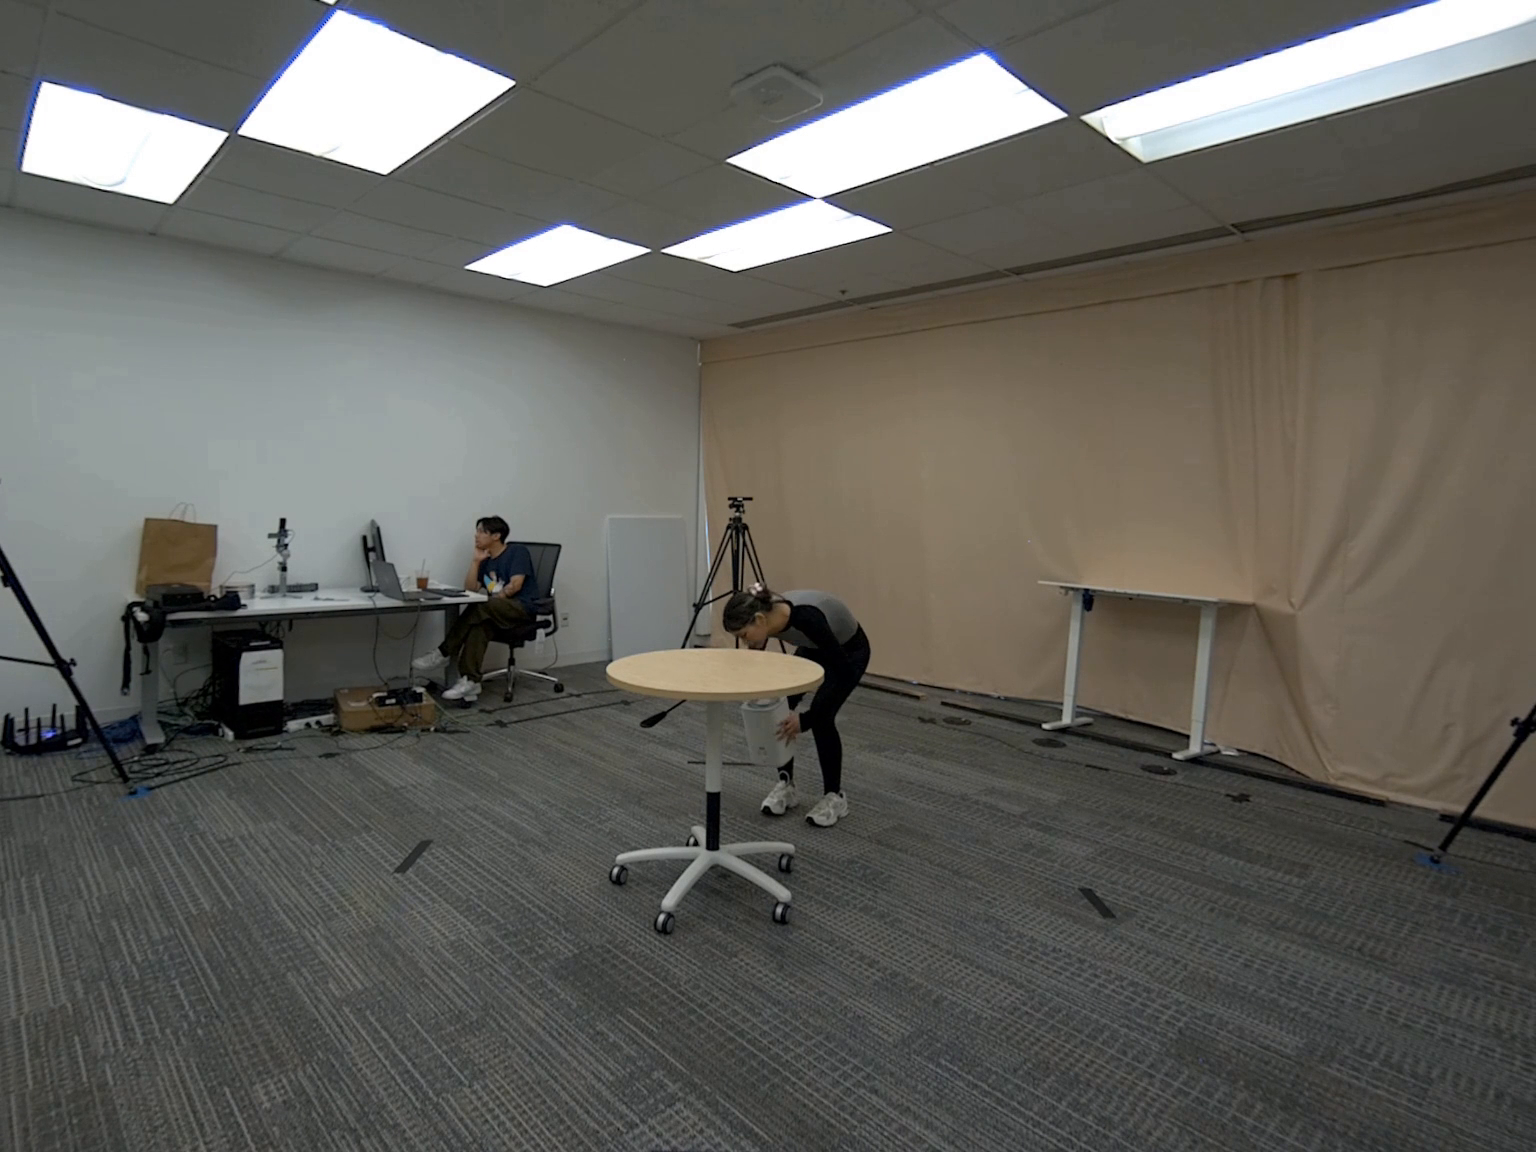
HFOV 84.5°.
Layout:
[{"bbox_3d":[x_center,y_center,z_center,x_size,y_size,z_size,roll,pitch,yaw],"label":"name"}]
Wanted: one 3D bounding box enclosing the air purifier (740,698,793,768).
[{"bbox_3d":[-0.008,0.641,3.528,0.174,0.263,0.170,-4,12,29],"label":"air purifier"}]
